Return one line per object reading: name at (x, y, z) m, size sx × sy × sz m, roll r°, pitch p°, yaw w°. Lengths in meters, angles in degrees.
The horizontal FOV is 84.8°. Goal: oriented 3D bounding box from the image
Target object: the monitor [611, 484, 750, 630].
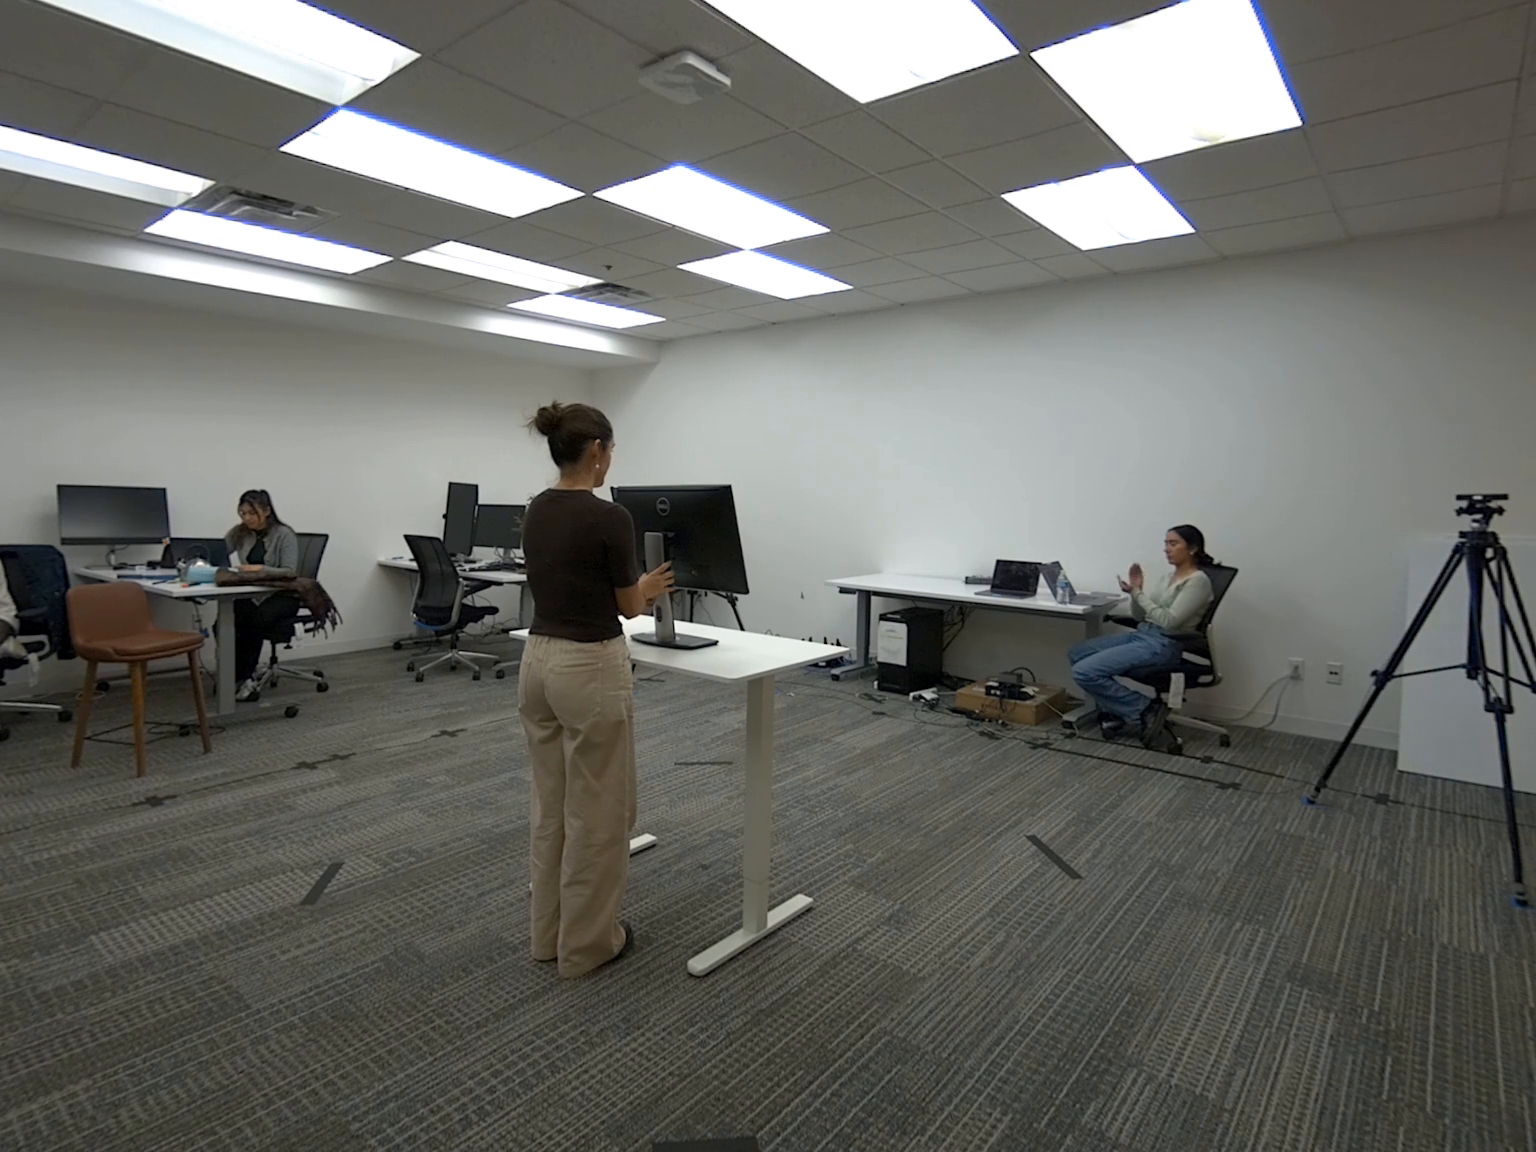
monitor at (-0.323, -0.037, 2.768) m, size 0.557 × 0.521 × 0.182 m, roll 4°, pitch 5°, yaw 38°
